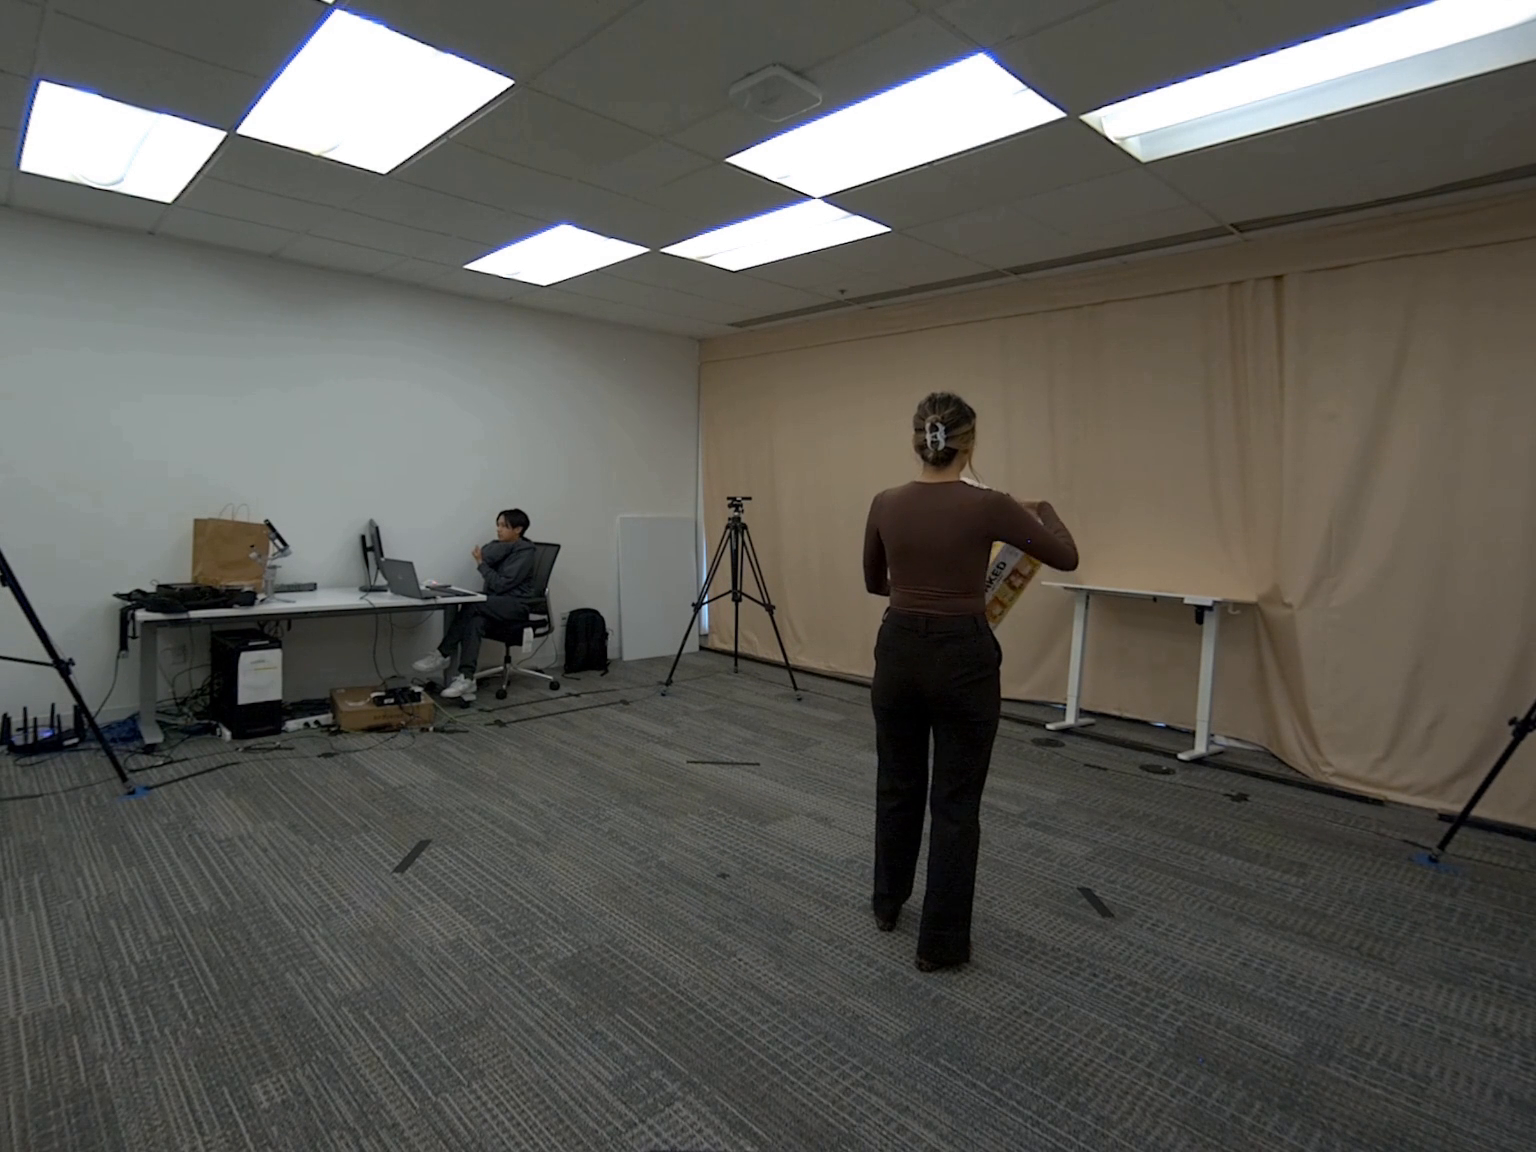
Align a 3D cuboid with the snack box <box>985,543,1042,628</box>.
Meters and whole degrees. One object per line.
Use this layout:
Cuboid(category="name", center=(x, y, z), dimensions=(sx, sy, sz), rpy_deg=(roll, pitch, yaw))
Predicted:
Cuboid(category="snack box", center=(0.712, -0.059, 2.872), dimensions=(0.200, 0.403, 0.350), rpy_deg=(18, 24, -30))
